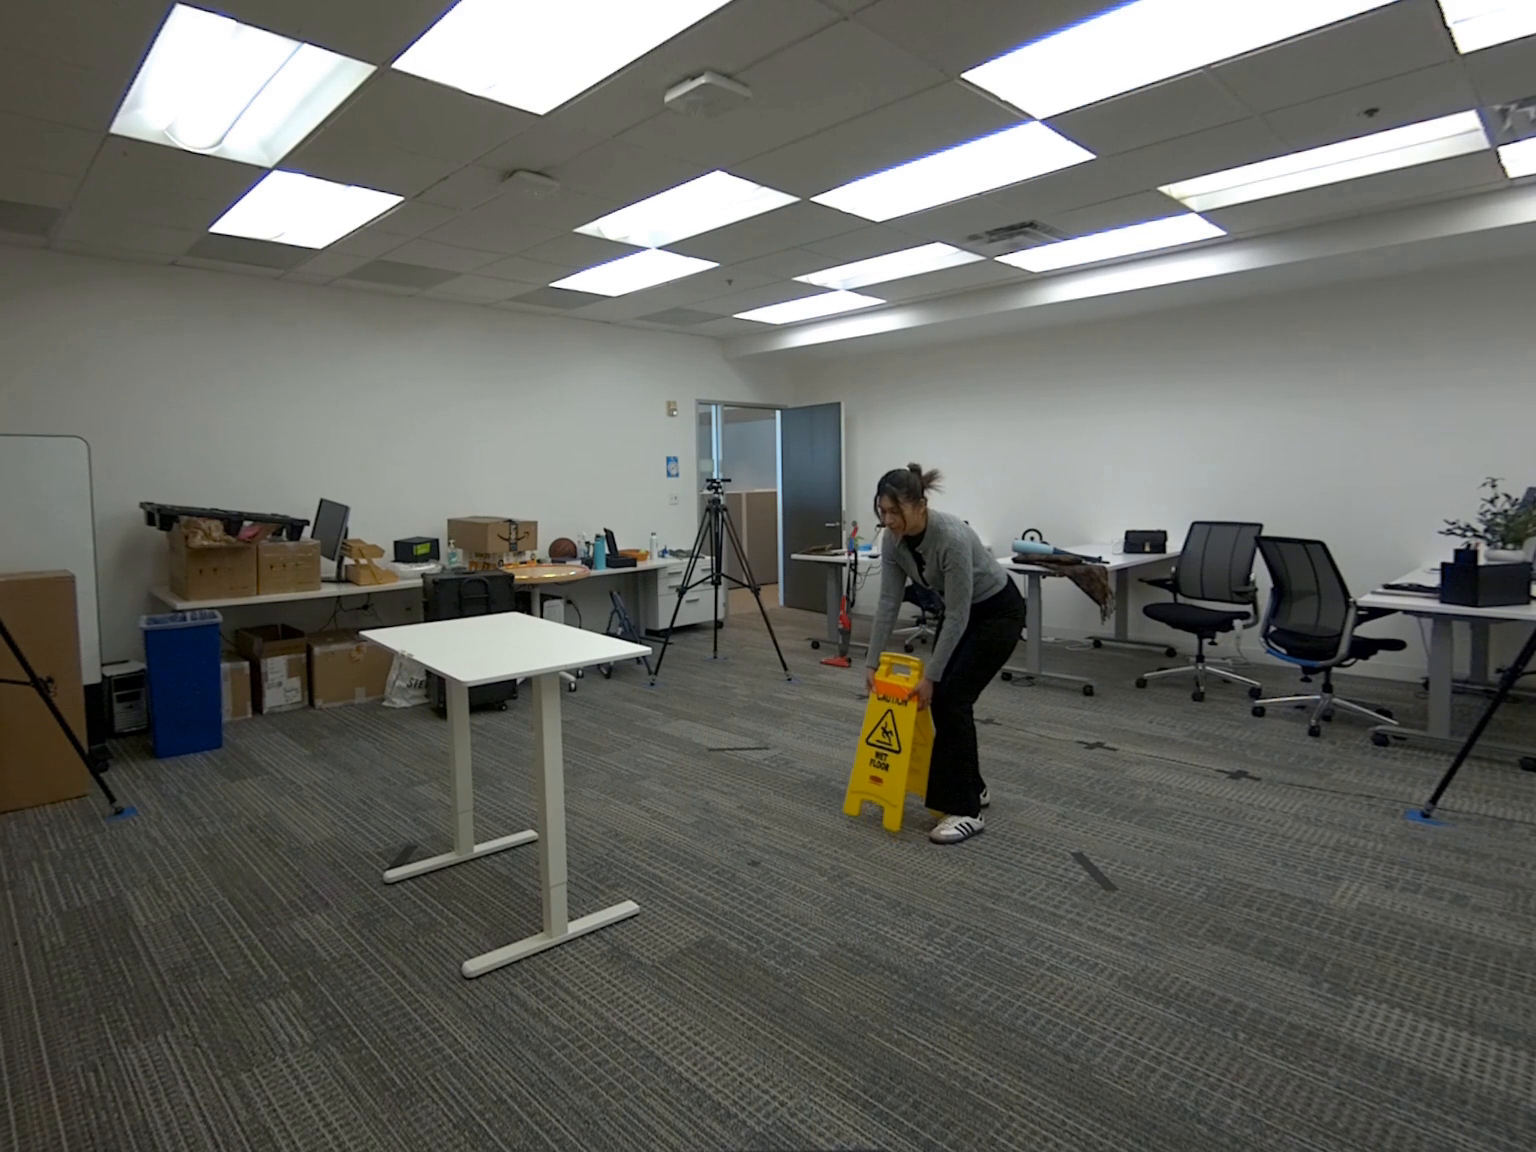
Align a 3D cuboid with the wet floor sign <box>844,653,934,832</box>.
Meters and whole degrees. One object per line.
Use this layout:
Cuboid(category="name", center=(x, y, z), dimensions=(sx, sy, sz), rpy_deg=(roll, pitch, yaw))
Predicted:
Cuboid(category="wet floor sign", center=(0.520, 0.637, 3.433), dimensions=(0.281, 0.646, 0.291), rpy_deg=(2, 1, -42))
